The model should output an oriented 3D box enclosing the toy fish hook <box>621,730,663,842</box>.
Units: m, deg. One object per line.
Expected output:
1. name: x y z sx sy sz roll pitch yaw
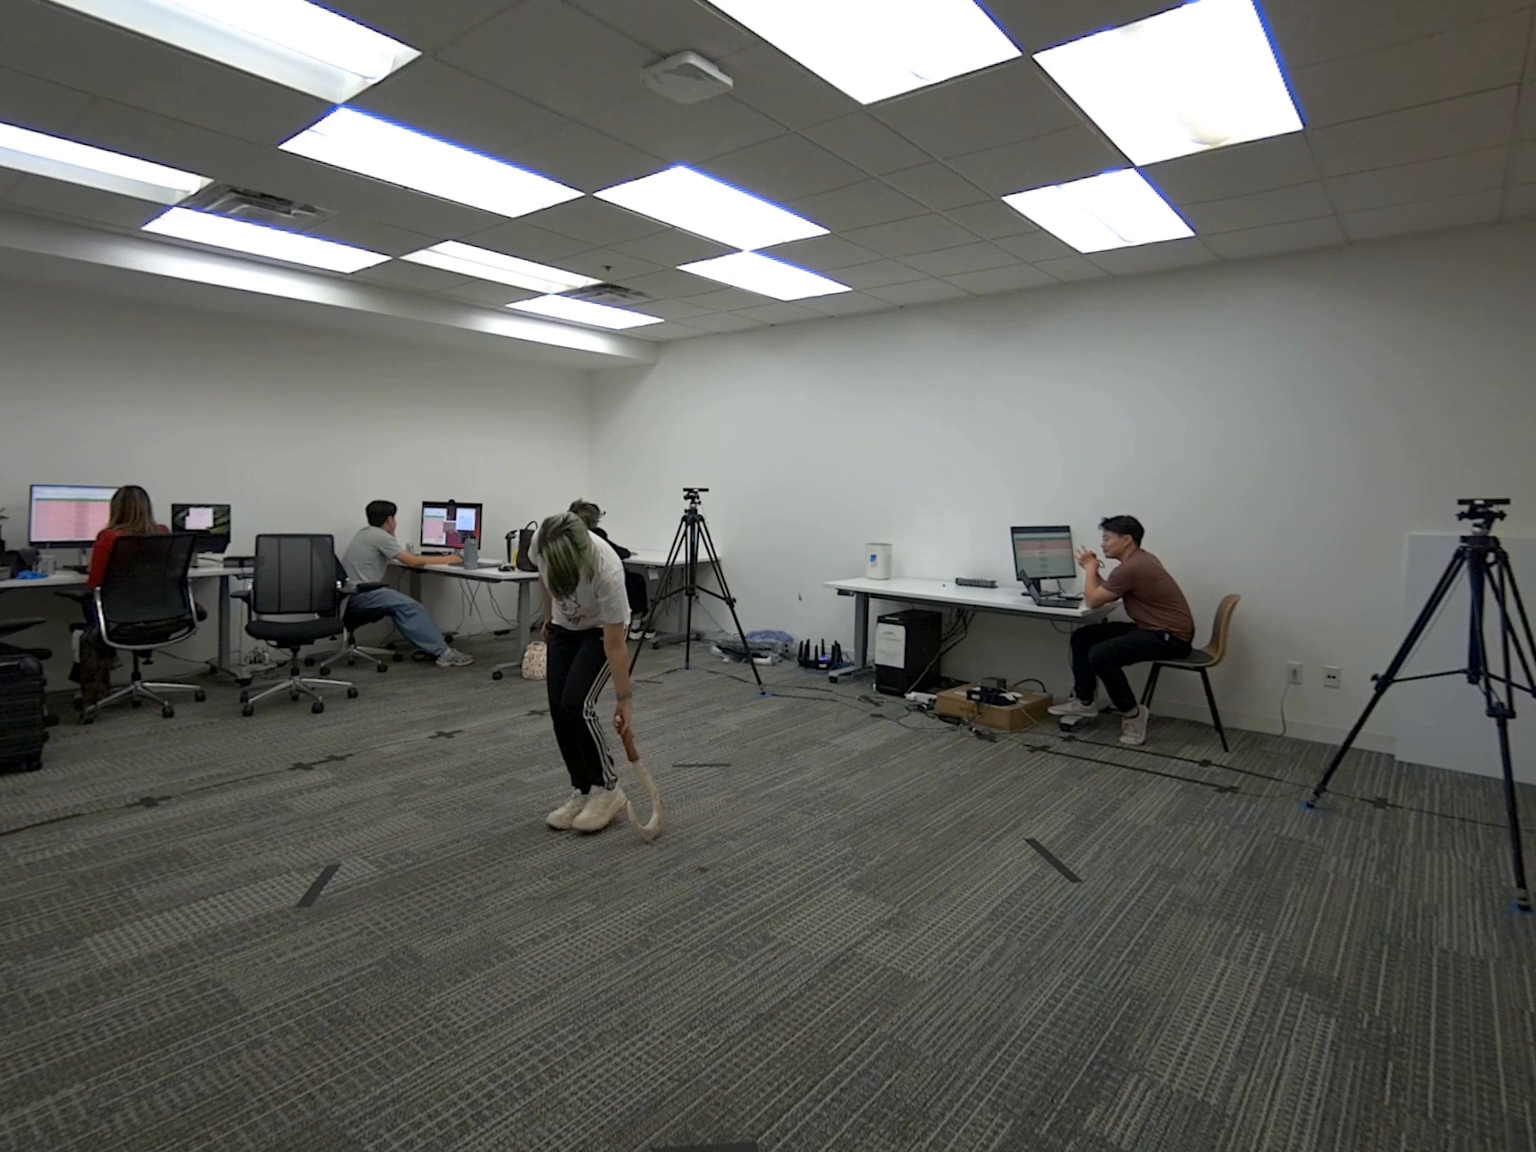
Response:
1. toy fish hook: -0.533 0.799 3.359 0.049 0.504 0.222 -20 4 21
